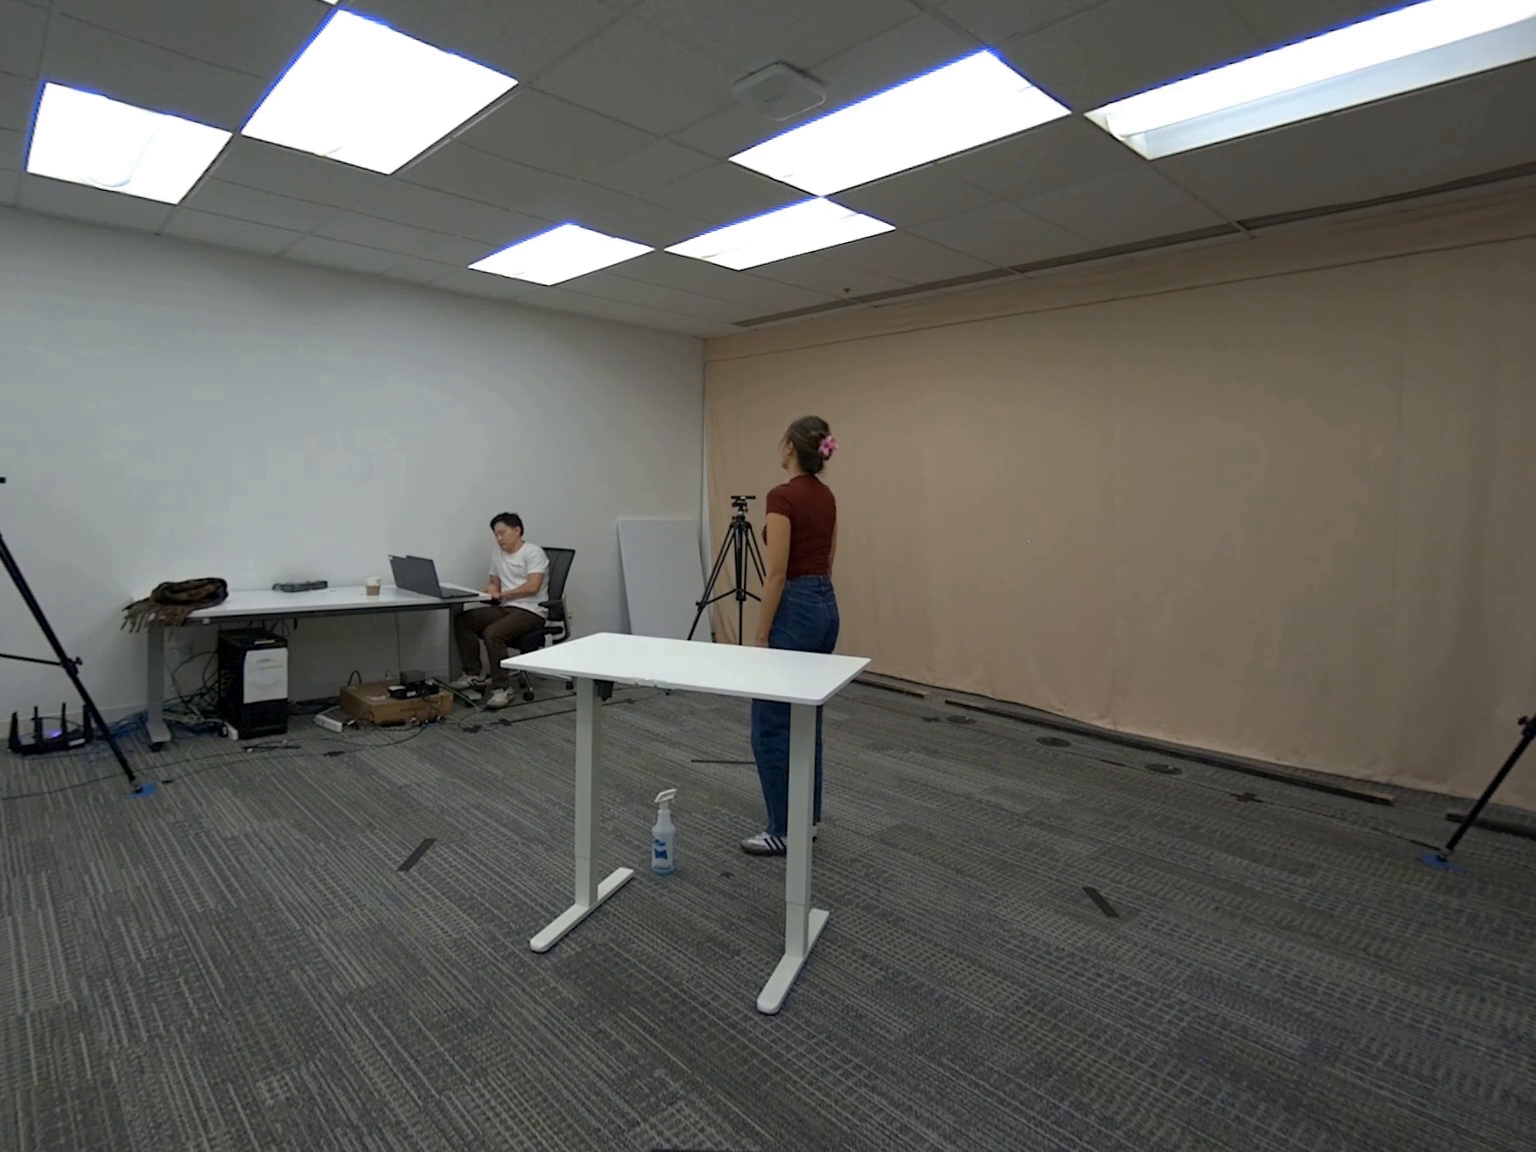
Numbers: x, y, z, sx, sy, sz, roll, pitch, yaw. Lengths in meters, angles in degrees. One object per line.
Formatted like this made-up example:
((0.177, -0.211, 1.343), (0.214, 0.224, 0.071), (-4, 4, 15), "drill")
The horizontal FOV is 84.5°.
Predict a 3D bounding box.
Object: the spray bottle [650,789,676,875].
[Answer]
((-0.390, 0.948, 3.121), (0.089, 0.297, 0.088), (2, 3, -14), "spray bottle")
